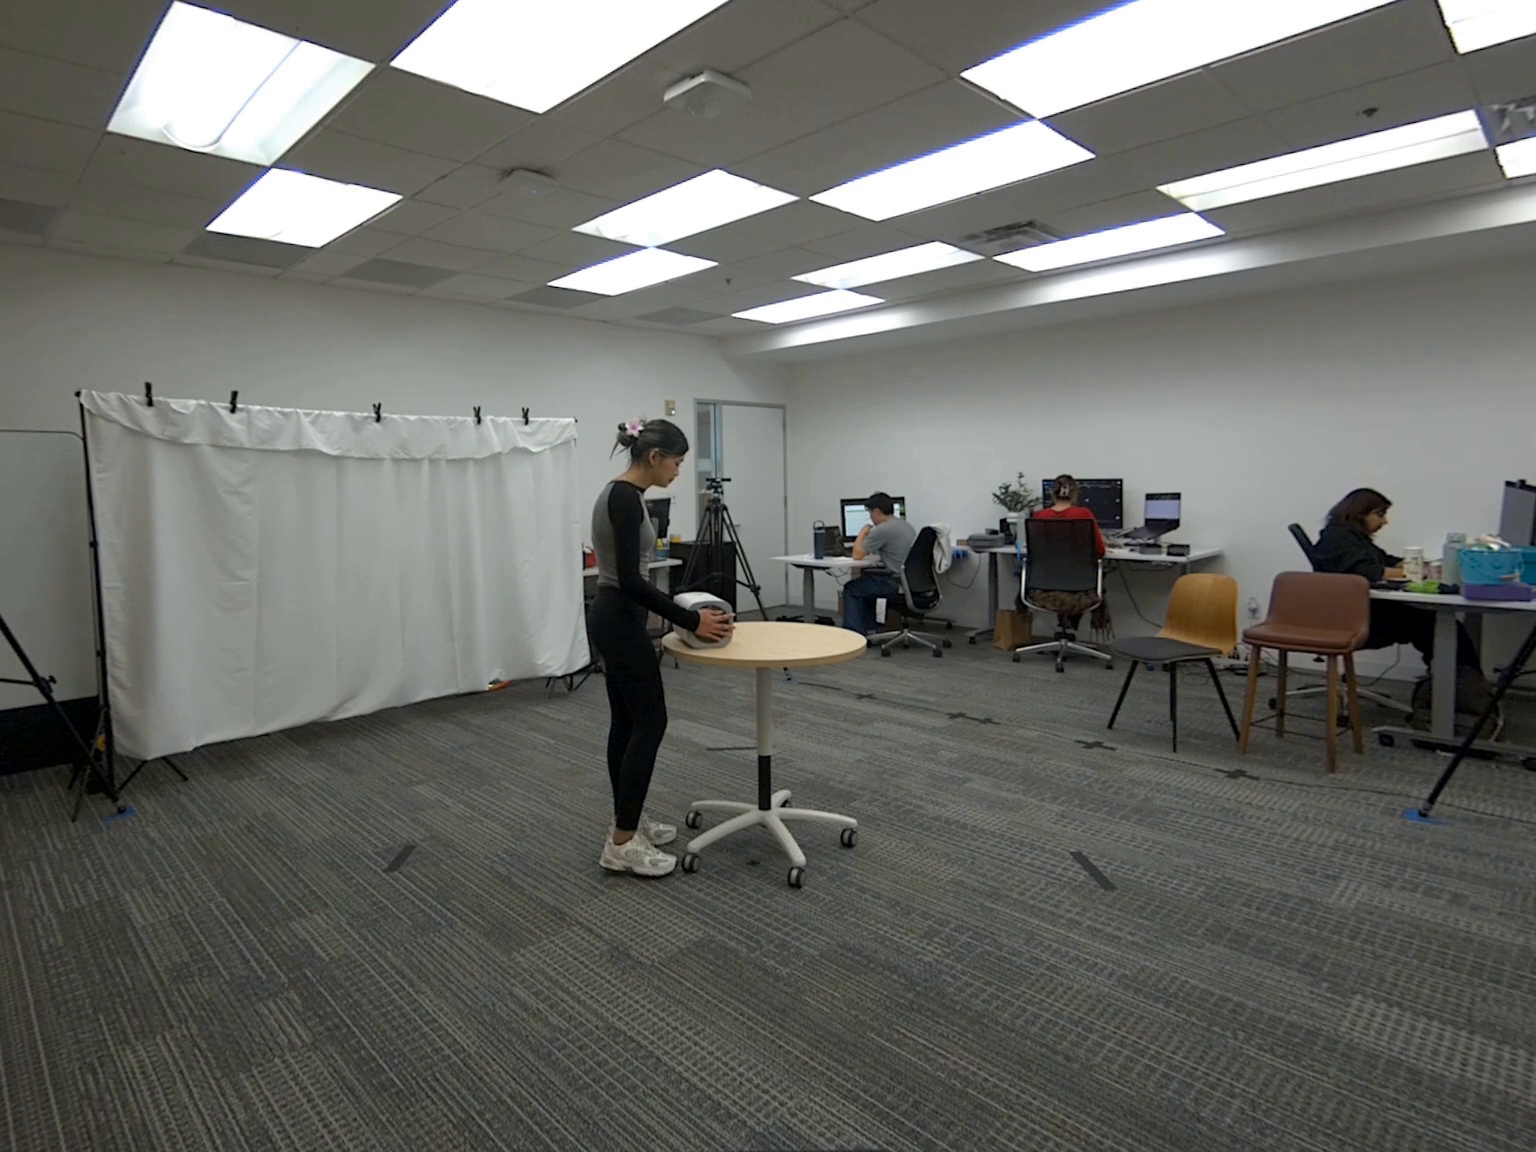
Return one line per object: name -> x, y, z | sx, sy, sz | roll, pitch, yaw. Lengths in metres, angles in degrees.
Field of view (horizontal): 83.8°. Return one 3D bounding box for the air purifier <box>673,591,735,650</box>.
air purifier -> -0.242, 0.158, 3.149 | 0.168, 0.171, 0.270 | -2, 5, -18
